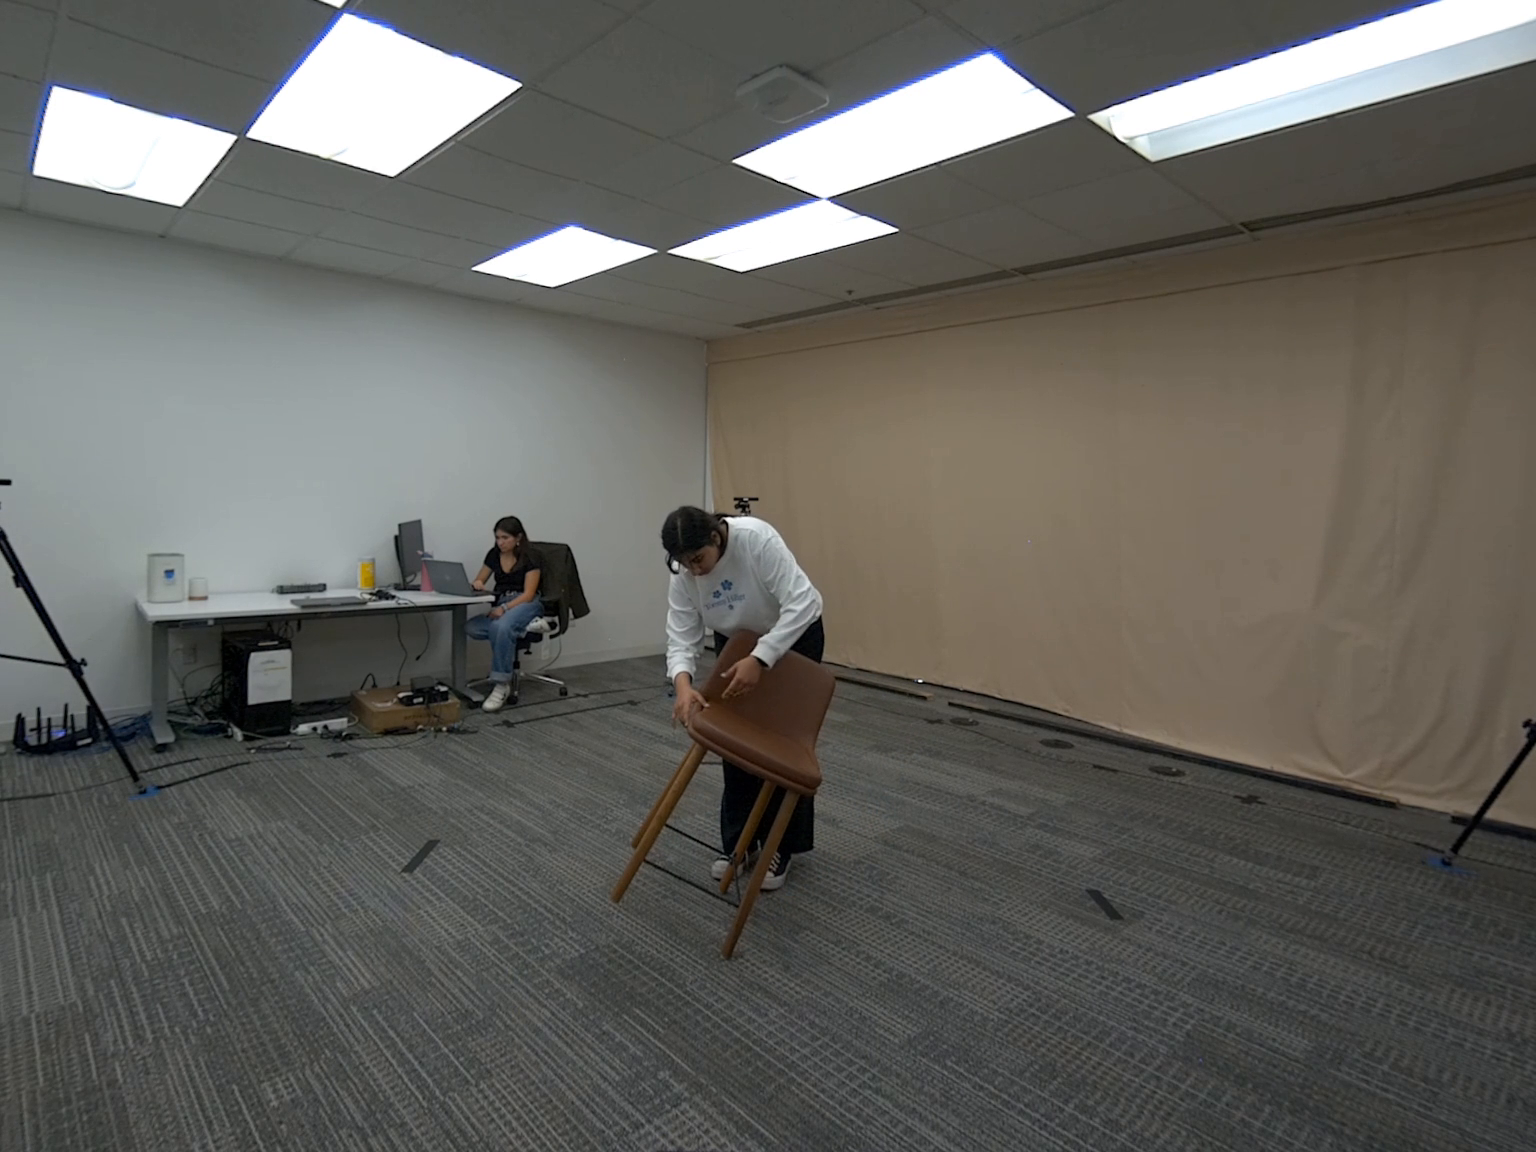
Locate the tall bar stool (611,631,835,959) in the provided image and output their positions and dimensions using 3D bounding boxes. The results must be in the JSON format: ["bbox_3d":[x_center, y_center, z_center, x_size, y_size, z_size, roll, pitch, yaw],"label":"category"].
[{"bbox_3d":[-0.121,0.665,2.750,0.455,0.890,0.469,26,-1,-4],"label":"tall bar stool"}]
